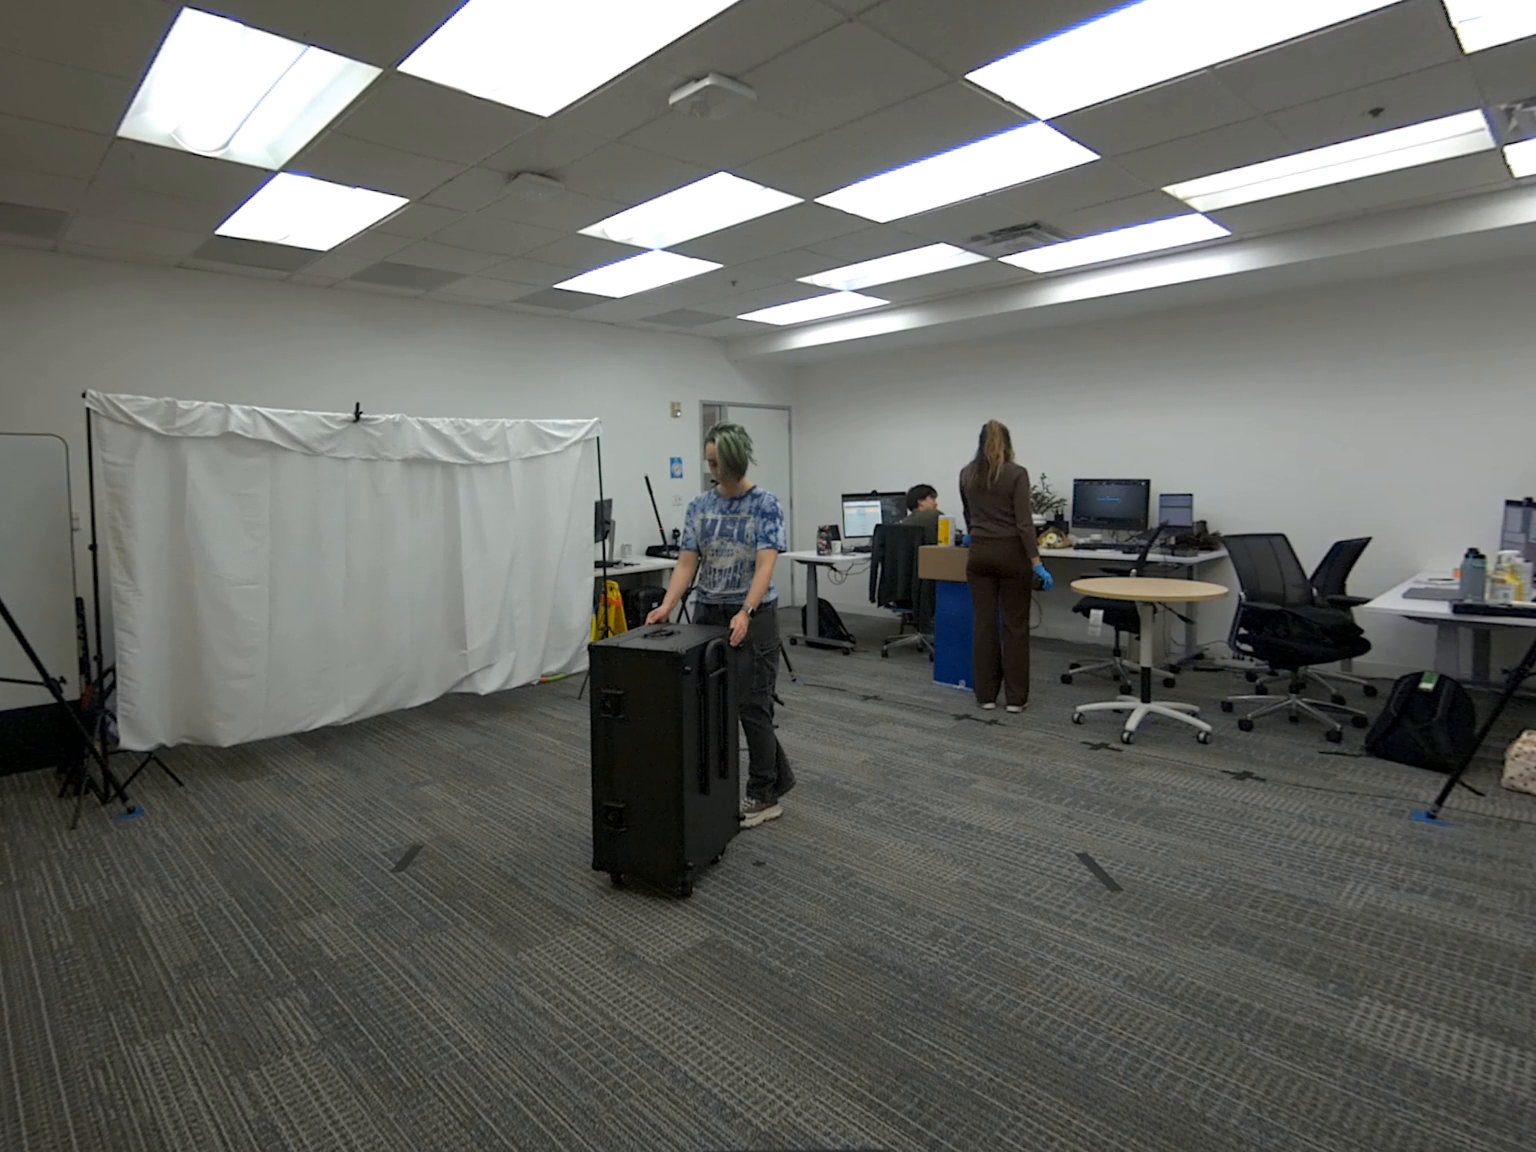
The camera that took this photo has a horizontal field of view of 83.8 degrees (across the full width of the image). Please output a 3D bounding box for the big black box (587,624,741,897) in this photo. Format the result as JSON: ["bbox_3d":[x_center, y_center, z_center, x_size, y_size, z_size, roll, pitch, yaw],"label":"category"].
[{"bbox_3d":[-0.348,0.638,3.055,0.405,0.858,0.512,2,4,22],"label":"big black box"}]
